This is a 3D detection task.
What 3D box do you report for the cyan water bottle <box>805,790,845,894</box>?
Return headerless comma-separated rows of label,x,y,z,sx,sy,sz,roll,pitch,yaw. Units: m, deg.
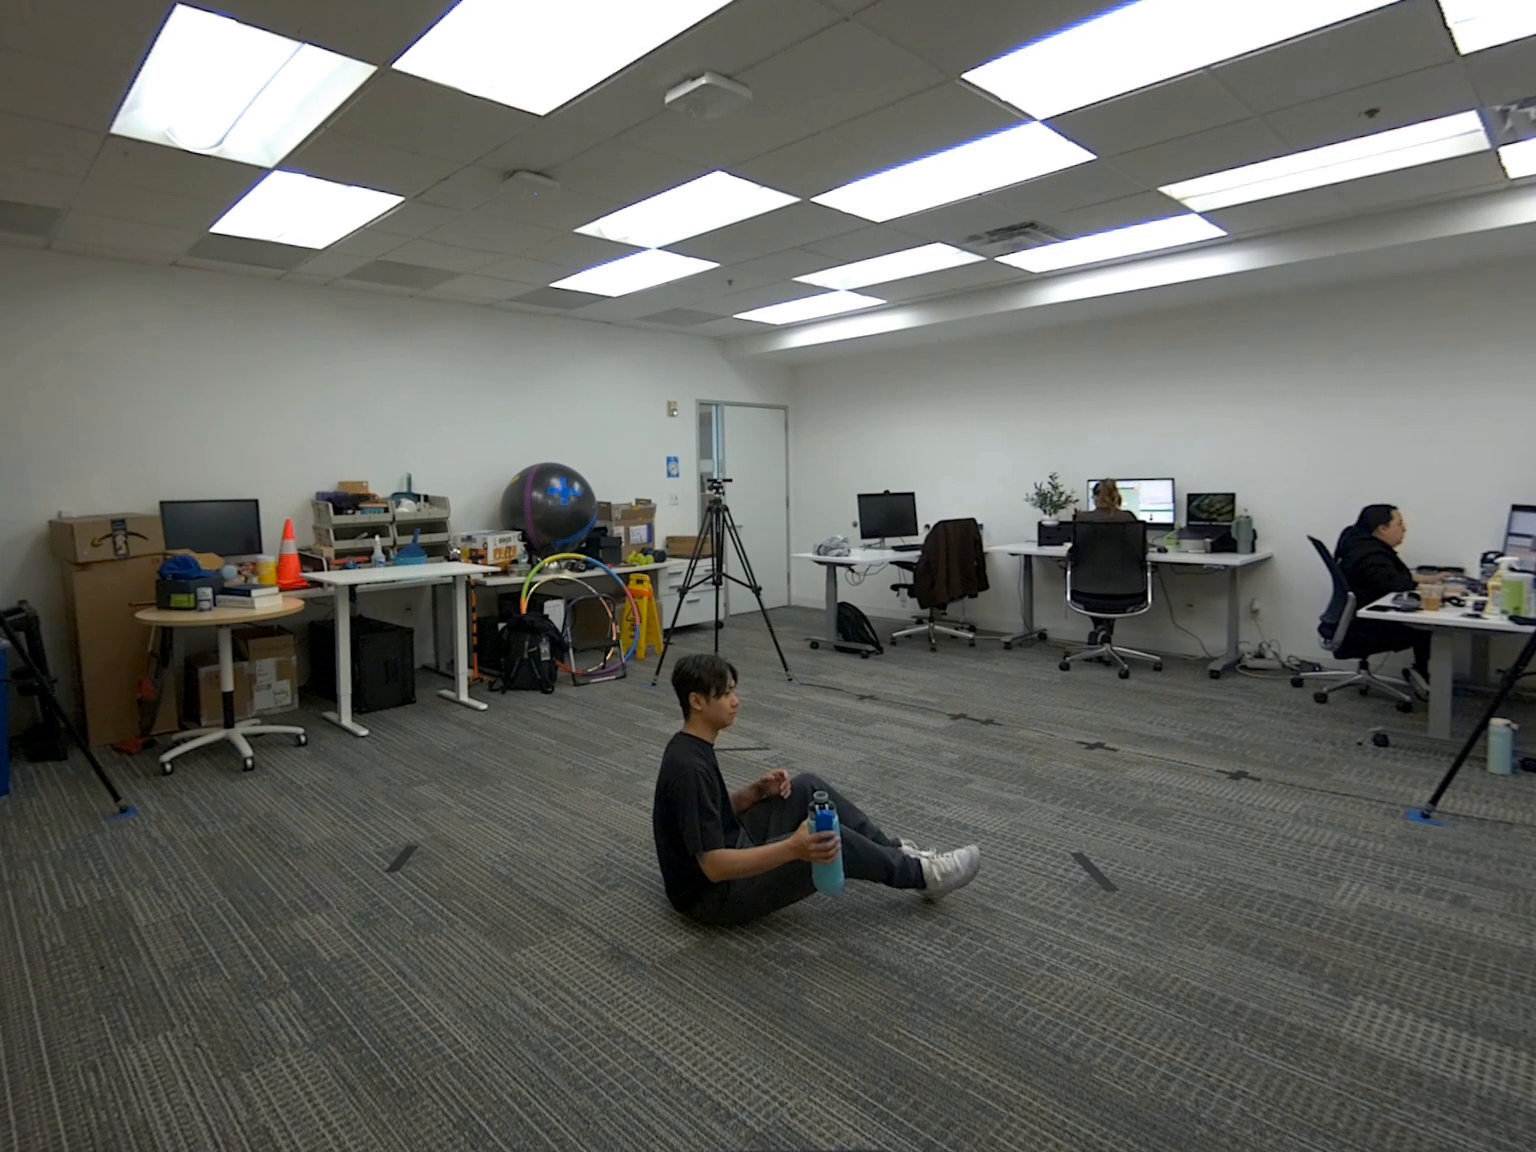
cyan water bottle,0.170,0.768,2.464,0.092,0.279,0.094,-1,16,-1
